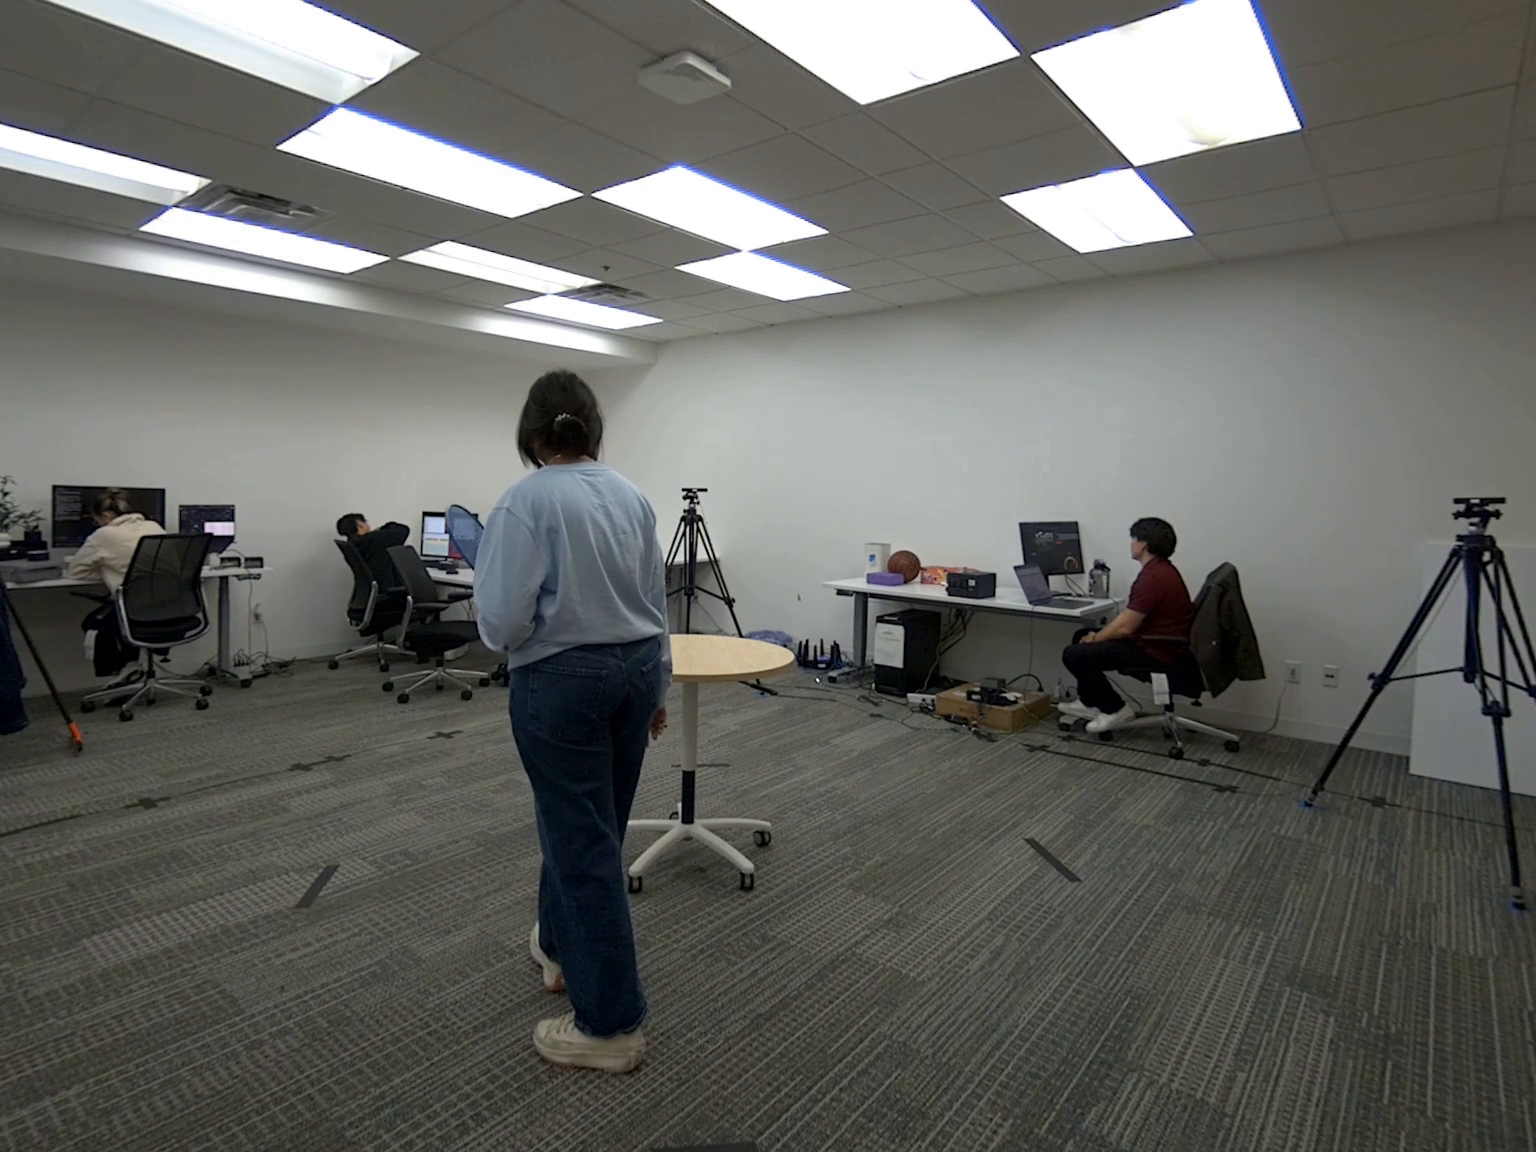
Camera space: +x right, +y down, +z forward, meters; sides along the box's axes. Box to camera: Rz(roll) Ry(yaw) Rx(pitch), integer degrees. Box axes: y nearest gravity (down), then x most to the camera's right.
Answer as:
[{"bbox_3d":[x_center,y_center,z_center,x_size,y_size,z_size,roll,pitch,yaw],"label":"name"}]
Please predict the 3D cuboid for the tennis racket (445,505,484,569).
[{"bbox_3d":[-0.776,-0.026,2.278,0.032,0.448,0.206,-34,-29,6],"label":"tennis racket"}]
